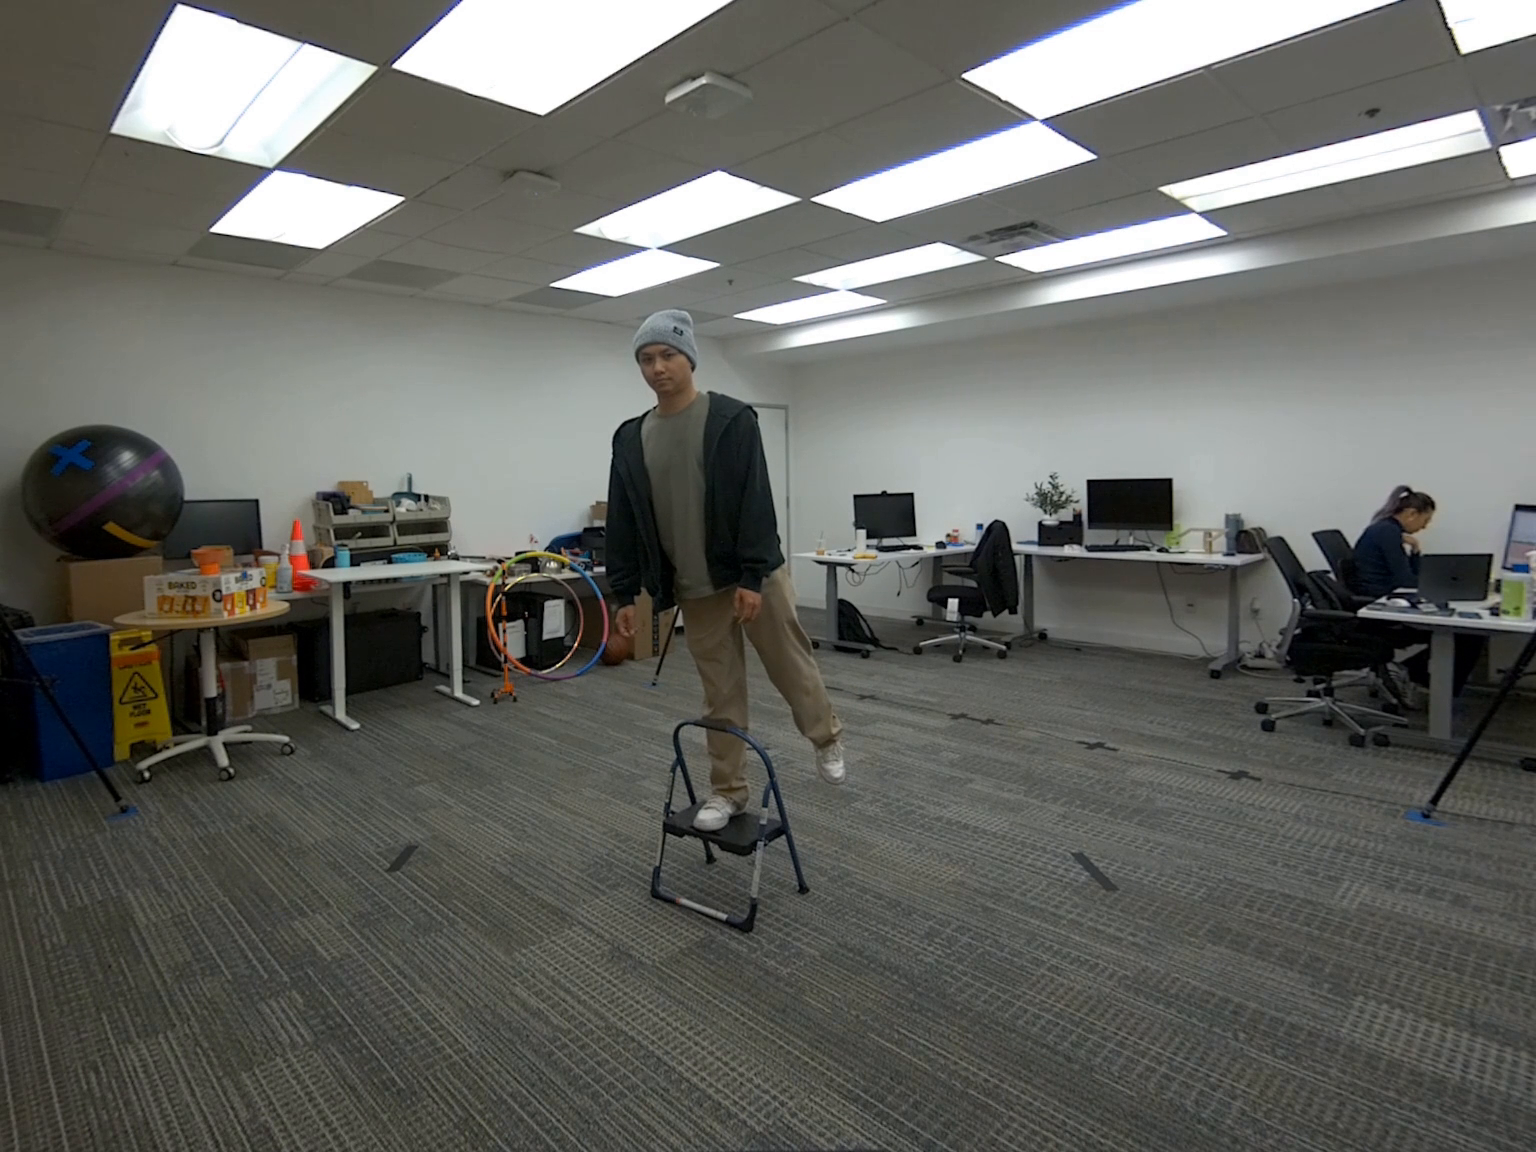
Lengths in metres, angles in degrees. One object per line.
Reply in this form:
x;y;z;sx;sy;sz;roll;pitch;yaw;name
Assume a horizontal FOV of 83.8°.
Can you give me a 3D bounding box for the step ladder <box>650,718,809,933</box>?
-0.134;0.772;2.864;0.443;0.603;0.341;2;6;35;step ladder
